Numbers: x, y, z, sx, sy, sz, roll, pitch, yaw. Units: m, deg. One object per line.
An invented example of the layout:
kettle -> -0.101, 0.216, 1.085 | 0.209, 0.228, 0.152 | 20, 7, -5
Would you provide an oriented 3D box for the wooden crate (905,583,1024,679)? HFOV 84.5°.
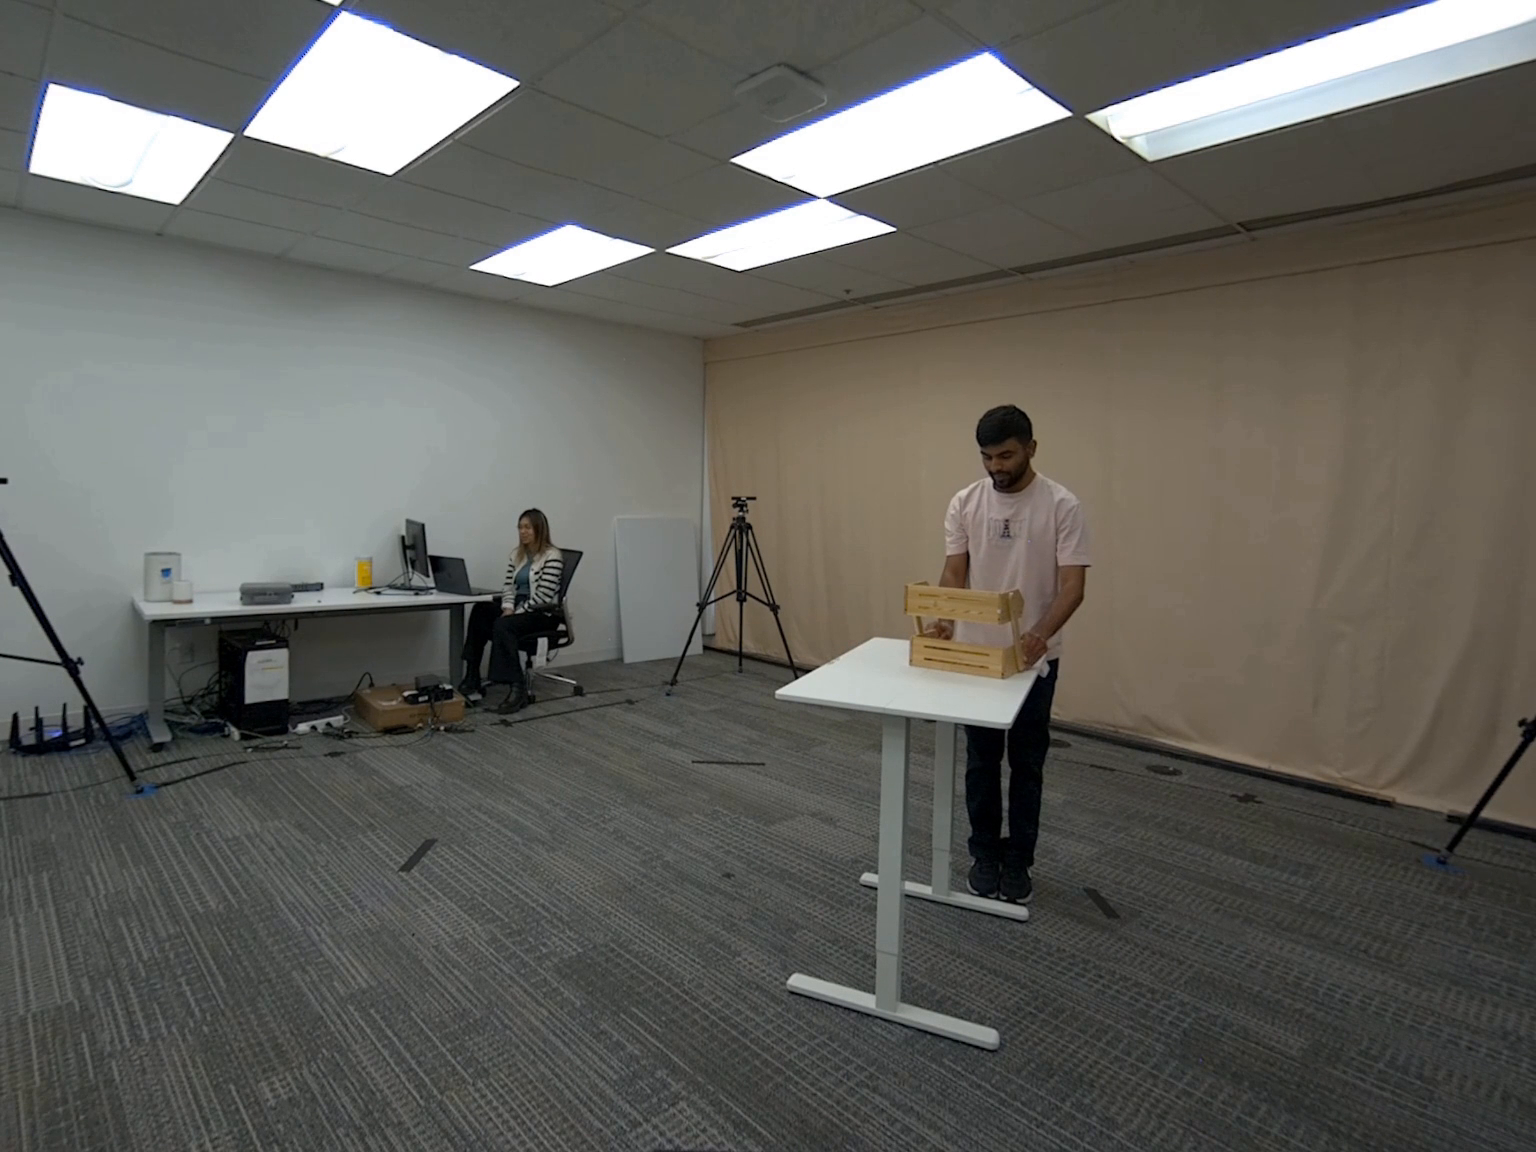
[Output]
wooden crate -> 0.621, 0.156, 2.623 | 0.332, 0.272, 0.296 | 5, 6, 35
